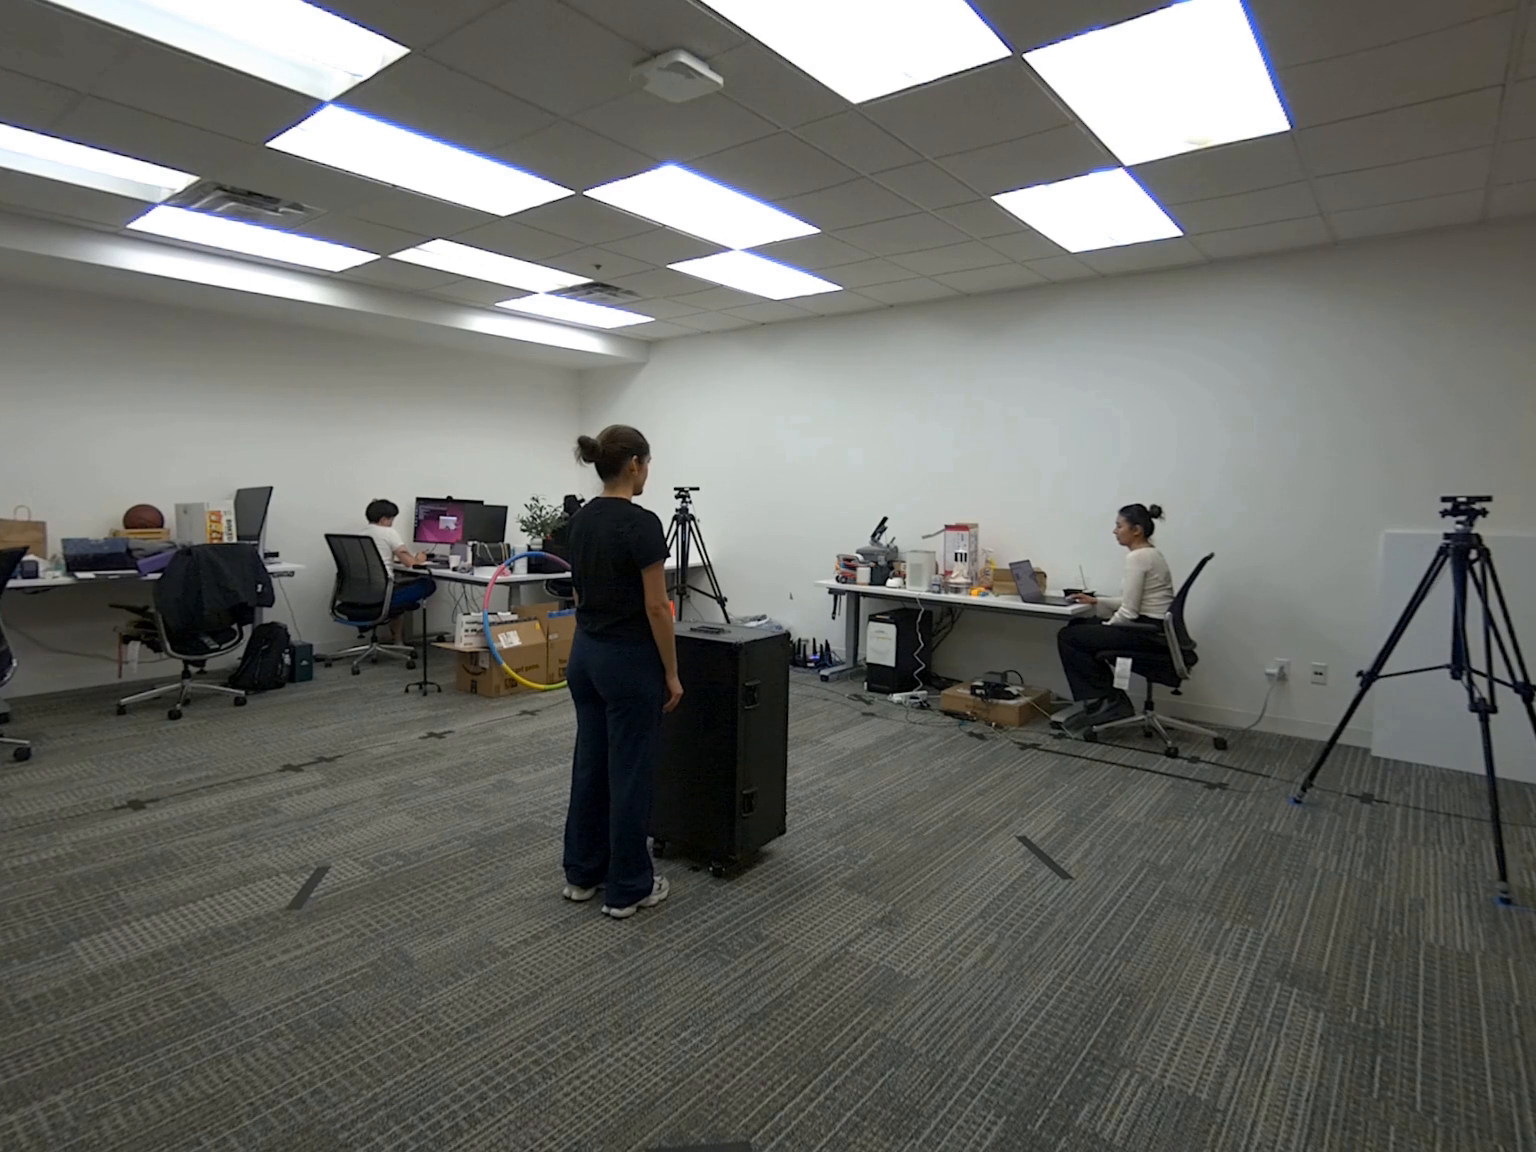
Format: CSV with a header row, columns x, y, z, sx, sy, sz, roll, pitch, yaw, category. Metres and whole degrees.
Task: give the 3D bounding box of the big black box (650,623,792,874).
x,y,z,sx,sy,sz,roll,pitch,yaw,category
-0.198,0.627,3.277,0.538,0.860,0.384,3,2,35,big black box
